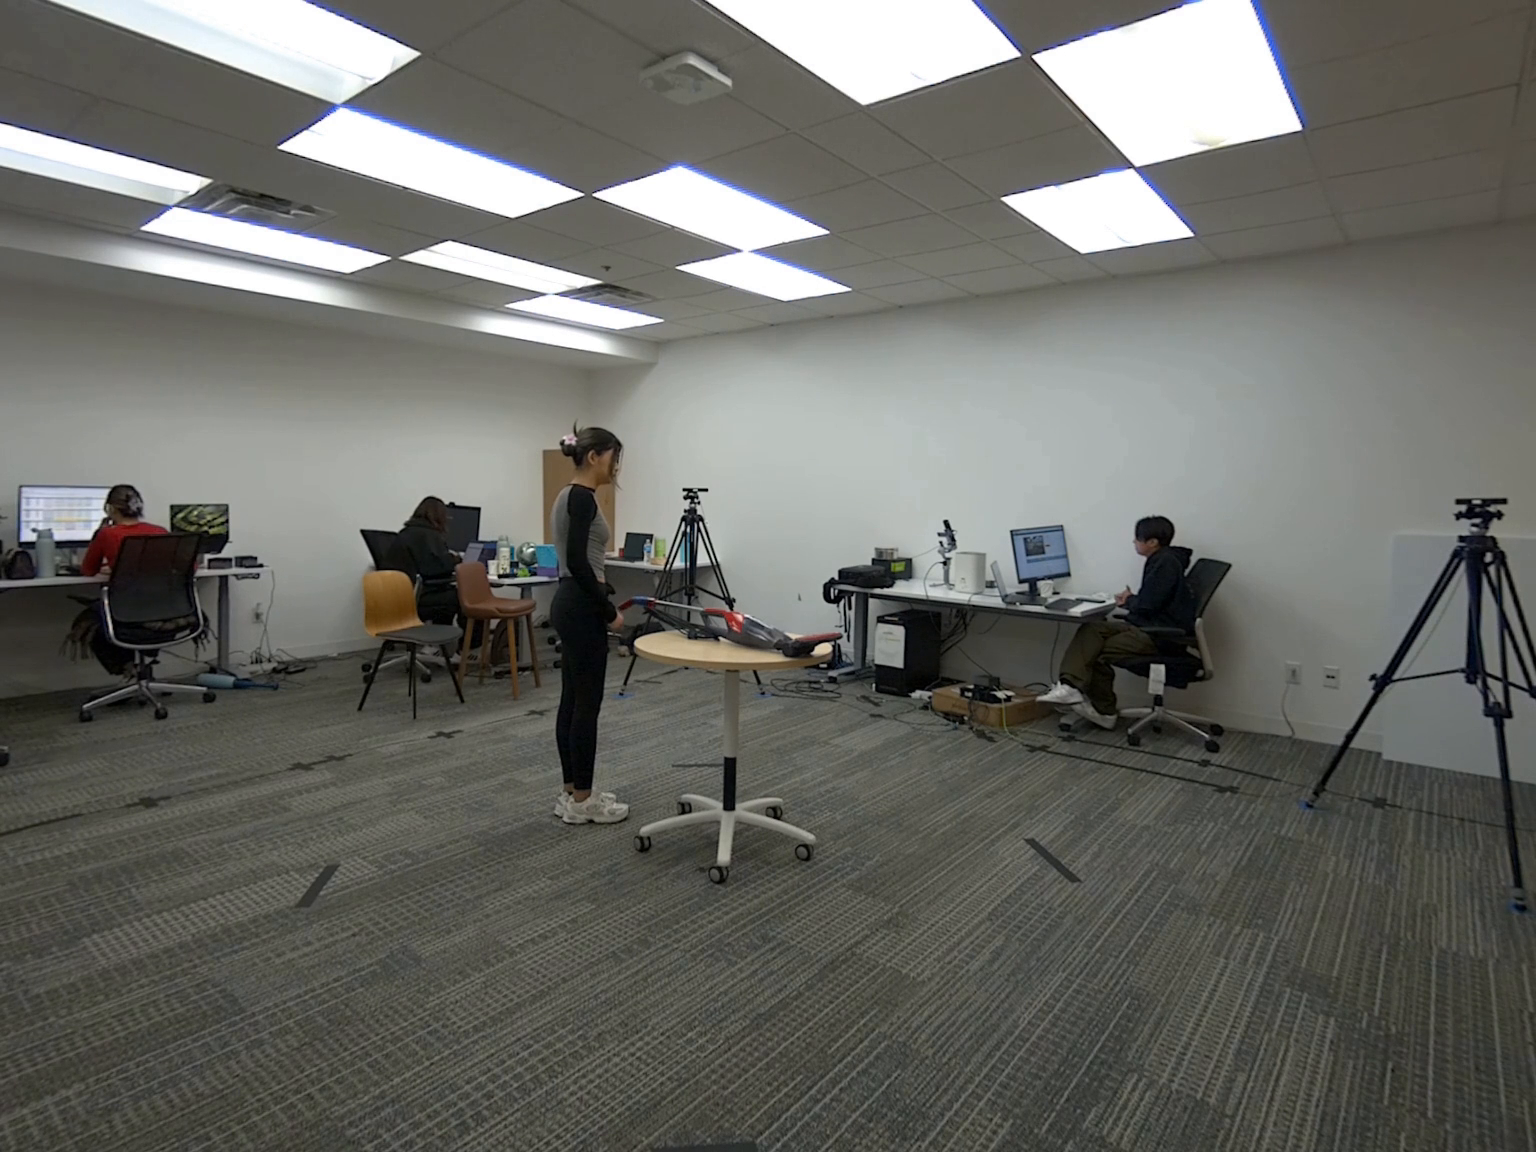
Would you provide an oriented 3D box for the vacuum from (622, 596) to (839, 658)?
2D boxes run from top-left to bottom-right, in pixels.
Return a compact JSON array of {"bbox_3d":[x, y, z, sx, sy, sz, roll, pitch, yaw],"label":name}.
[{"bbox_3d":[-0.256,0.202,3.403,1.086,0.143,0.245,8,9,41],"label":"vacuum"}]
